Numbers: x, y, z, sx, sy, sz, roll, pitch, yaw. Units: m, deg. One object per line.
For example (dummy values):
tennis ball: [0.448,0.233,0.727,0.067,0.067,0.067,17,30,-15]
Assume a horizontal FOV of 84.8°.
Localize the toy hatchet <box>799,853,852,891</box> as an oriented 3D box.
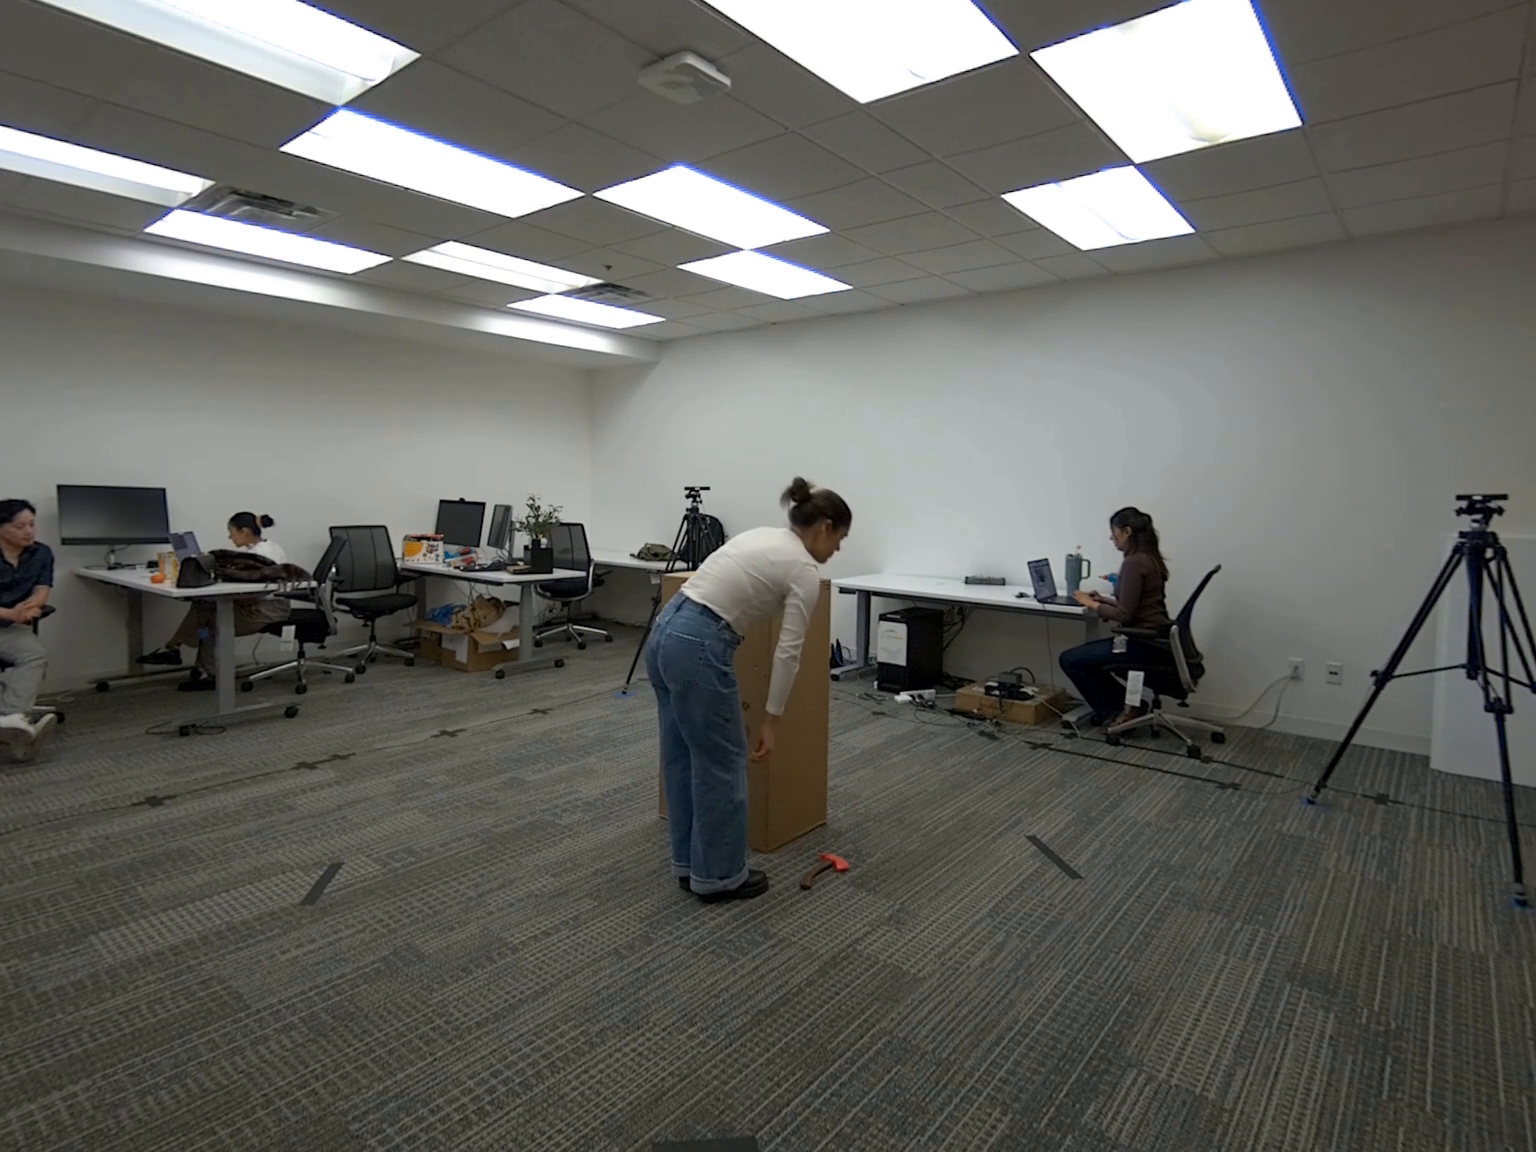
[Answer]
toy hatchet: [0.203,1.067,3.056,0.134,0.029,0.265,7,9,20]
